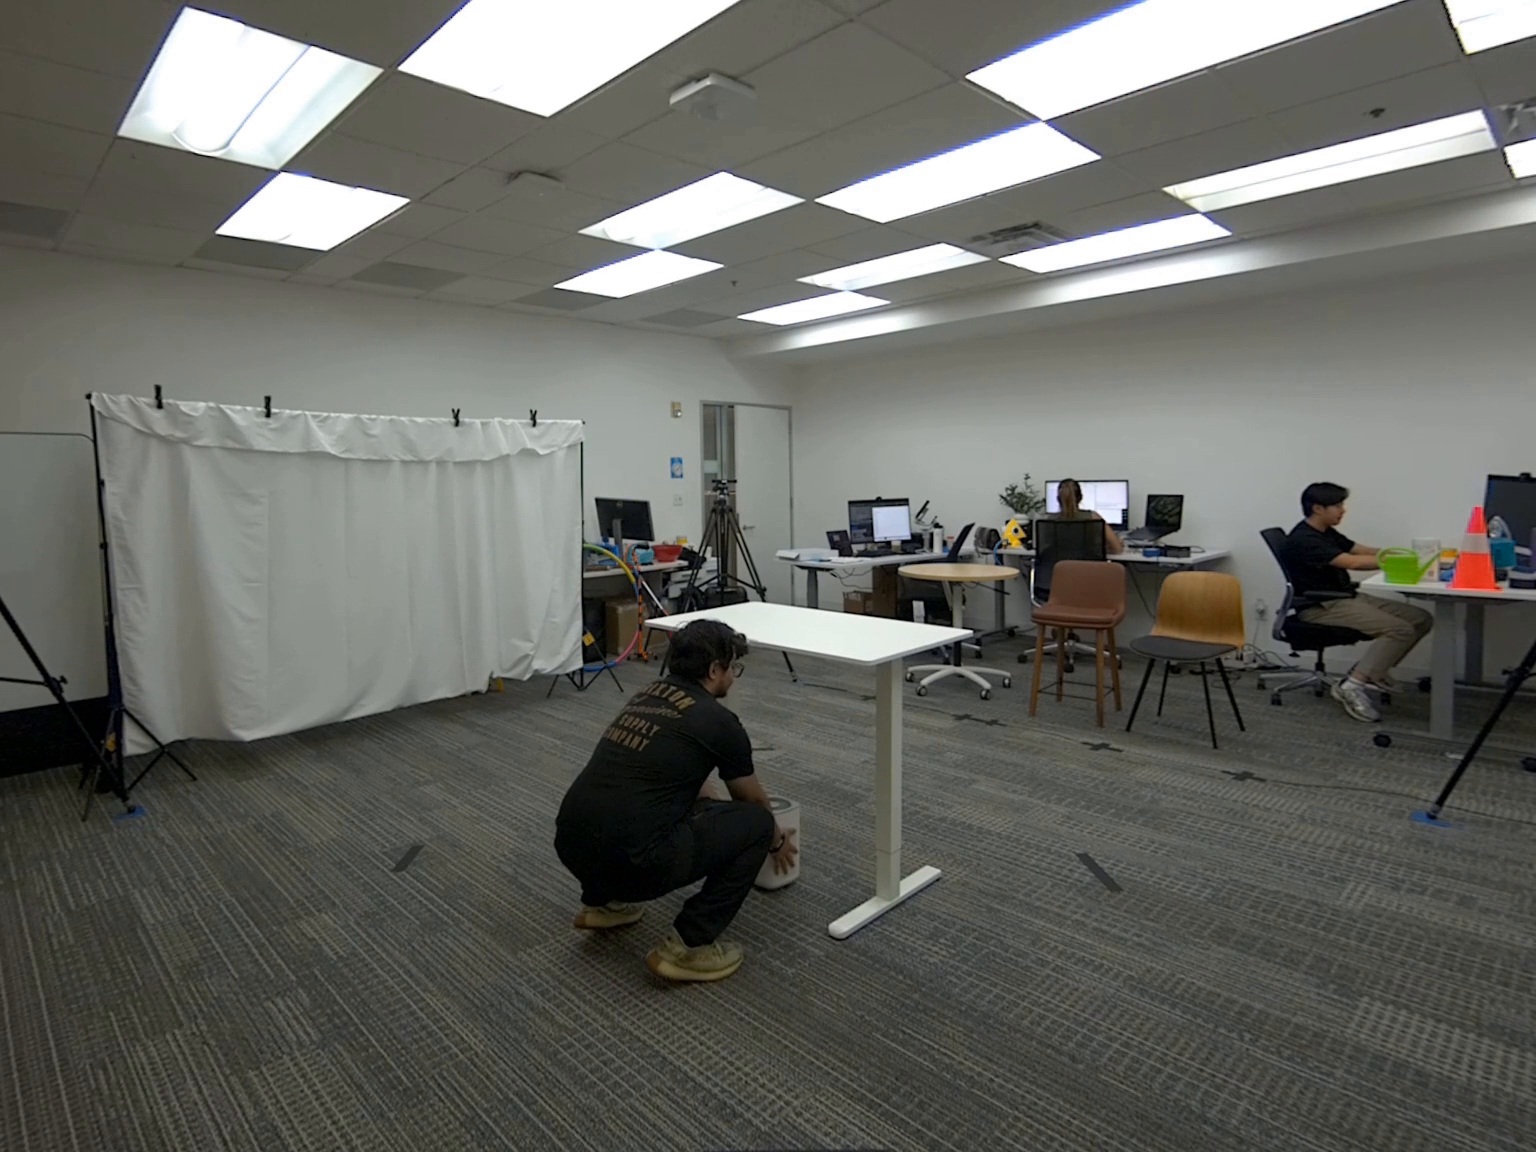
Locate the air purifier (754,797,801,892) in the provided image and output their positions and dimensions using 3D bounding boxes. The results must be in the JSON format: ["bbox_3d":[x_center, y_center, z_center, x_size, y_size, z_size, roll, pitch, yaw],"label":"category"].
[{"bbox_3d":[0.015,0.918,2.963,0.176,0.265,0.166,2,2,45],"label":"air purifier"}]
